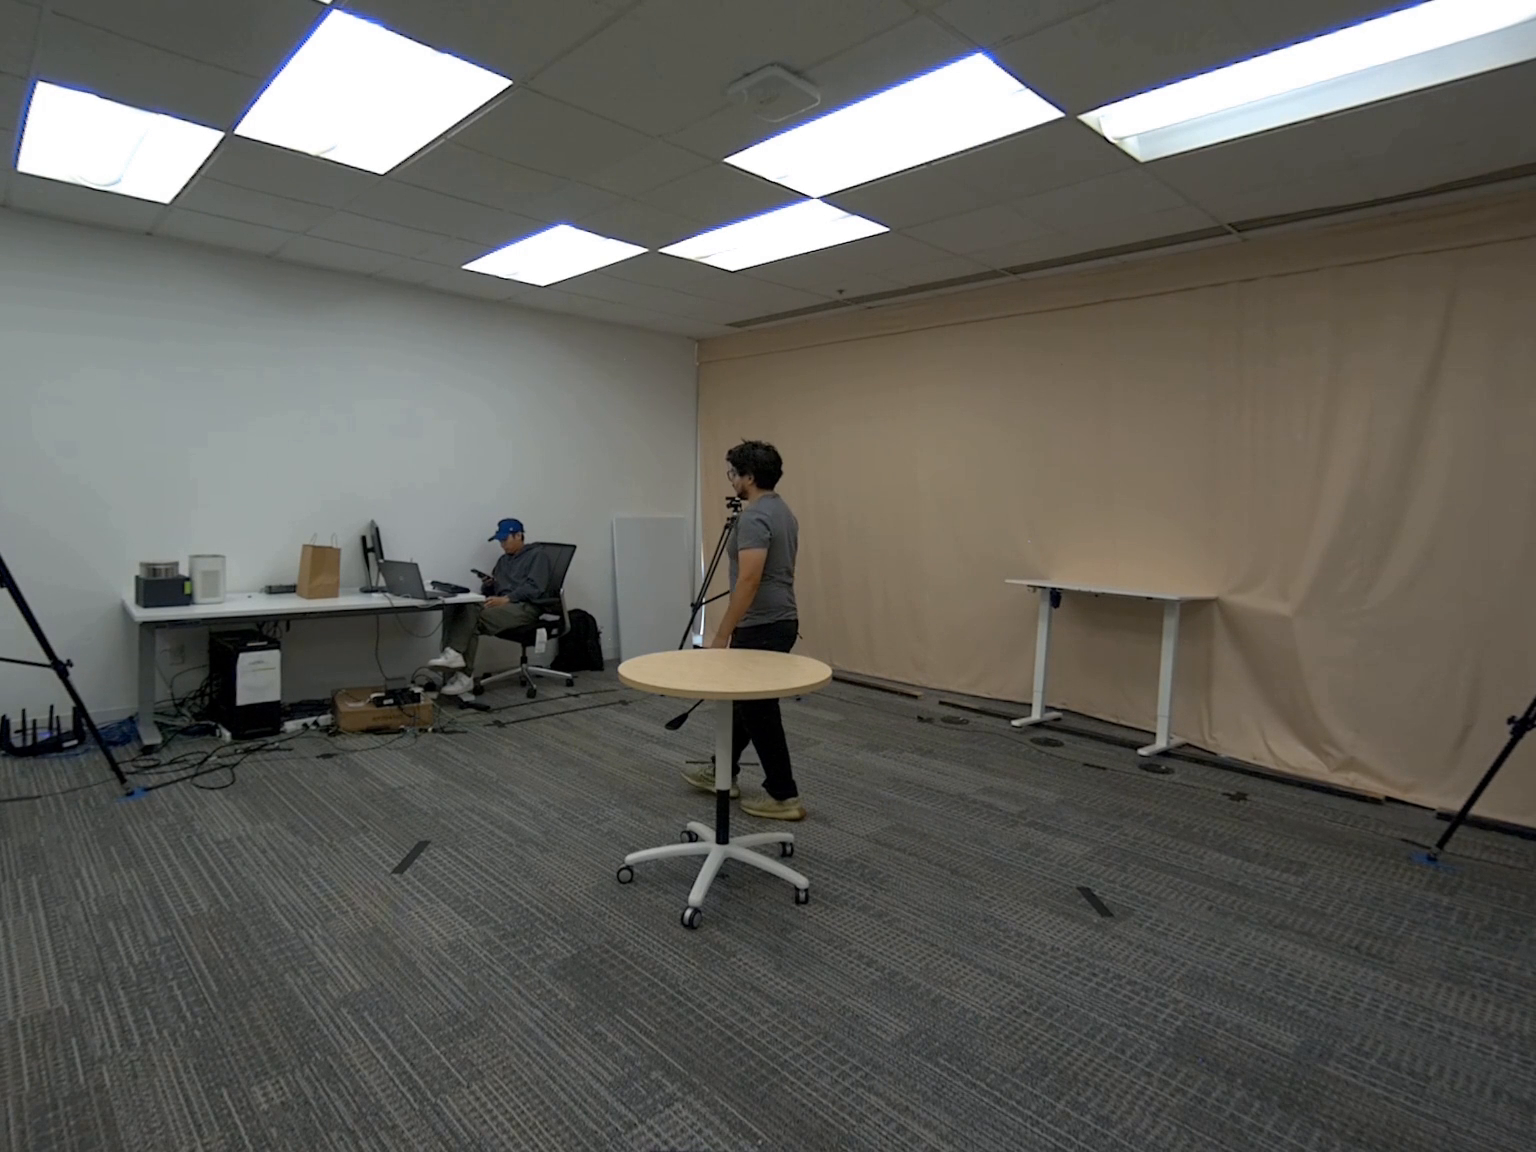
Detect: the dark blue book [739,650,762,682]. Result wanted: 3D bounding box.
[{"bbox_3d":[-0.075,0.377,4.095,0.045,0.246,0.164,16,-7,-8],"label":"dark blue book"}]
